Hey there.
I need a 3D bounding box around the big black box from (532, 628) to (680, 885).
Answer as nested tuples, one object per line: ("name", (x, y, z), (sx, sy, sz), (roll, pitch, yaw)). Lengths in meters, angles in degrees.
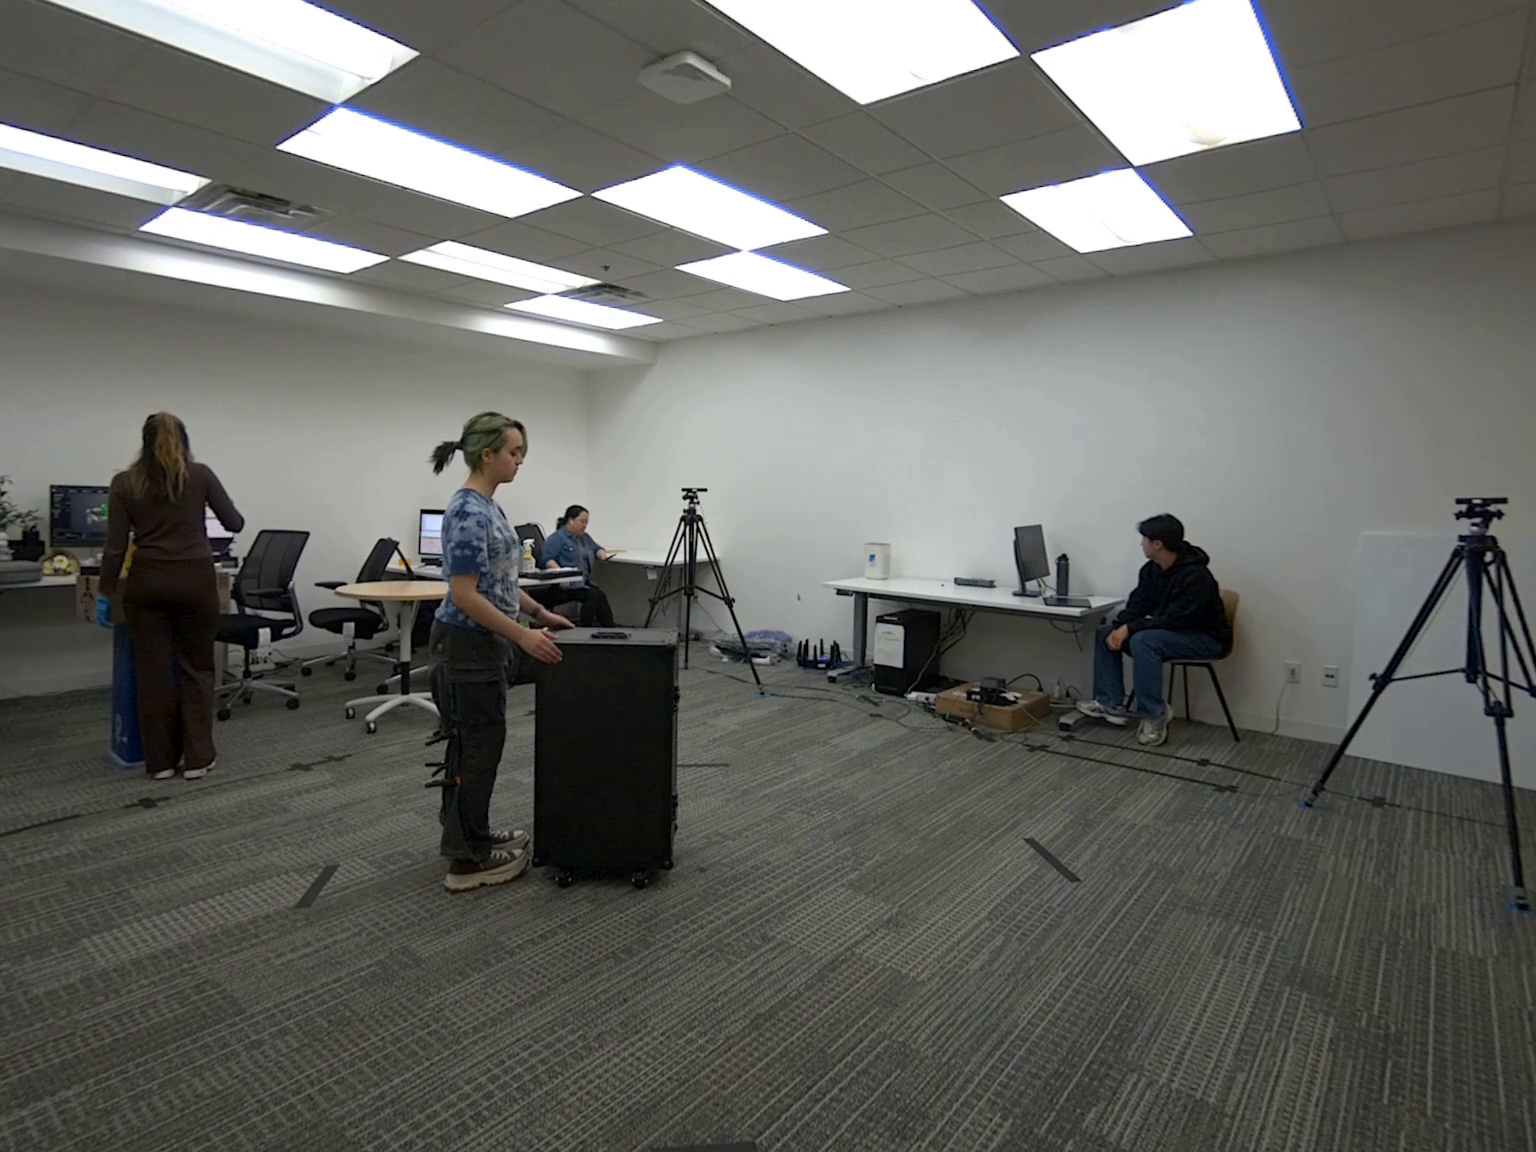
("big black box", (-0.595, 0.650, 3.108), (0.522, 0.861, 0.396), (1, 1, 0))
